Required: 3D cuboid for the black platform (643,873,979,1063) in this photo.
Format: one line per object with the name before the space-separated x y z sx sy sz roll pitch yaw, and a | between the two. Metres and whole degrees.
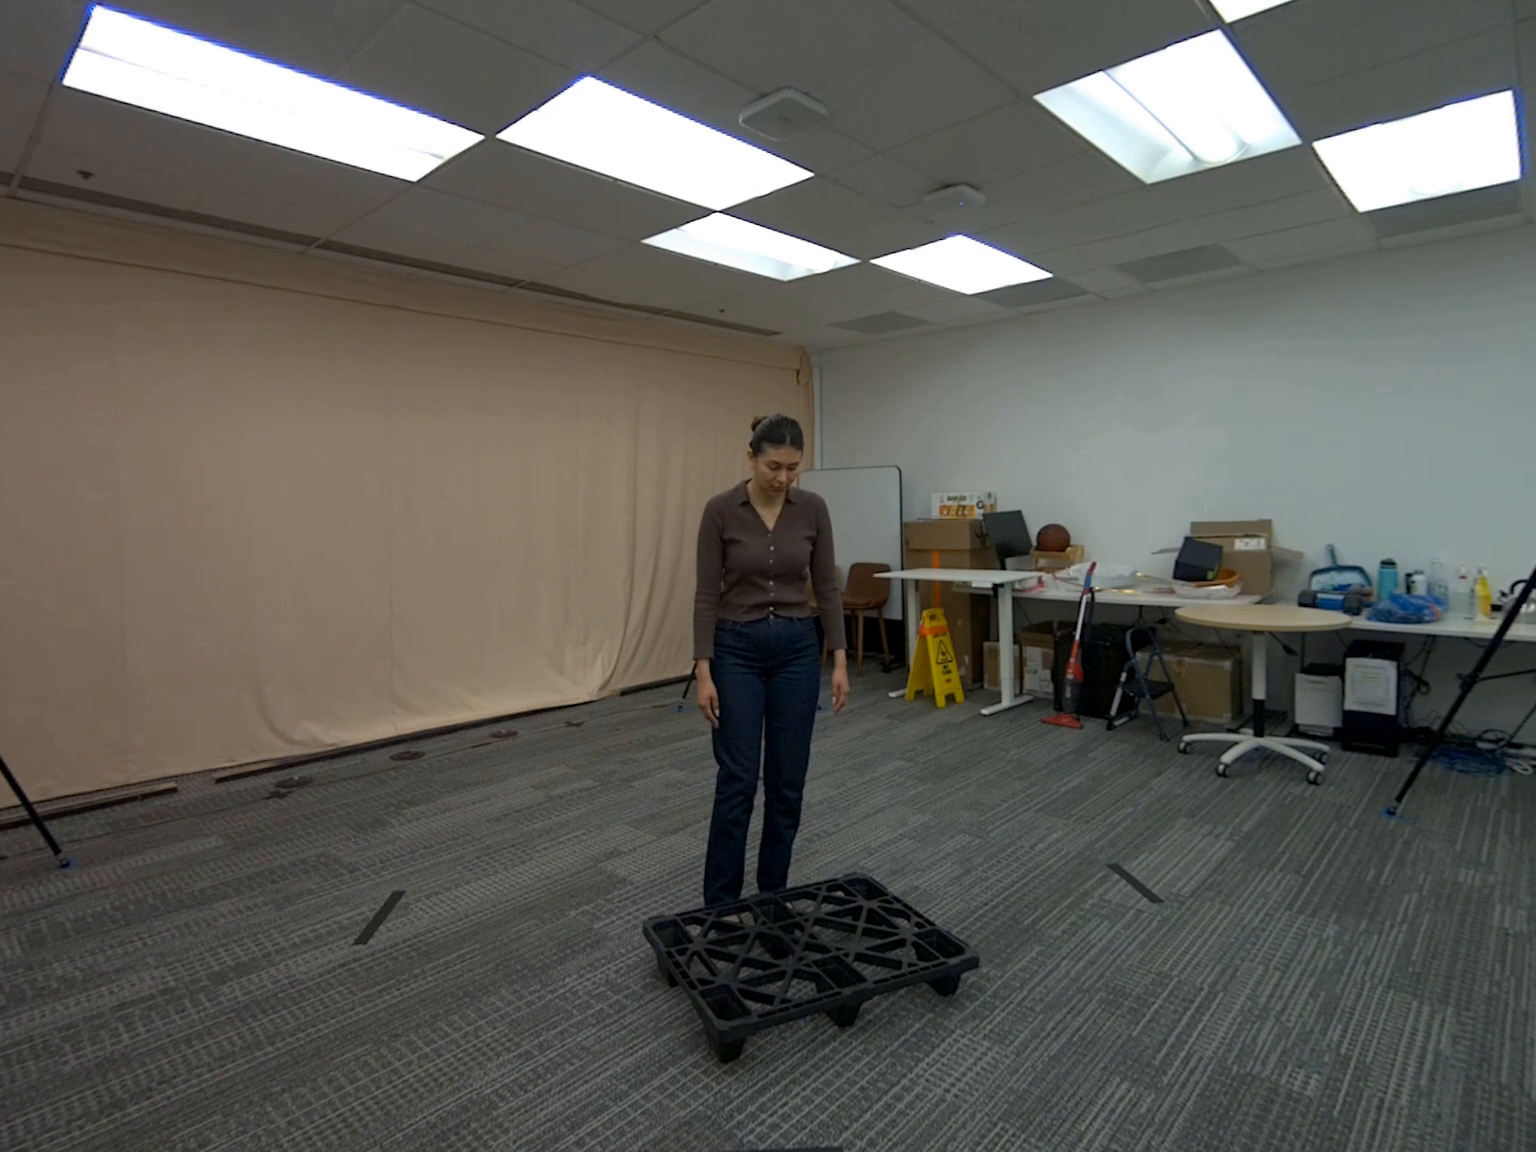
black platform | 0.106 1.118 2.451 0.787 0.143 0.621 -3 4 -25
